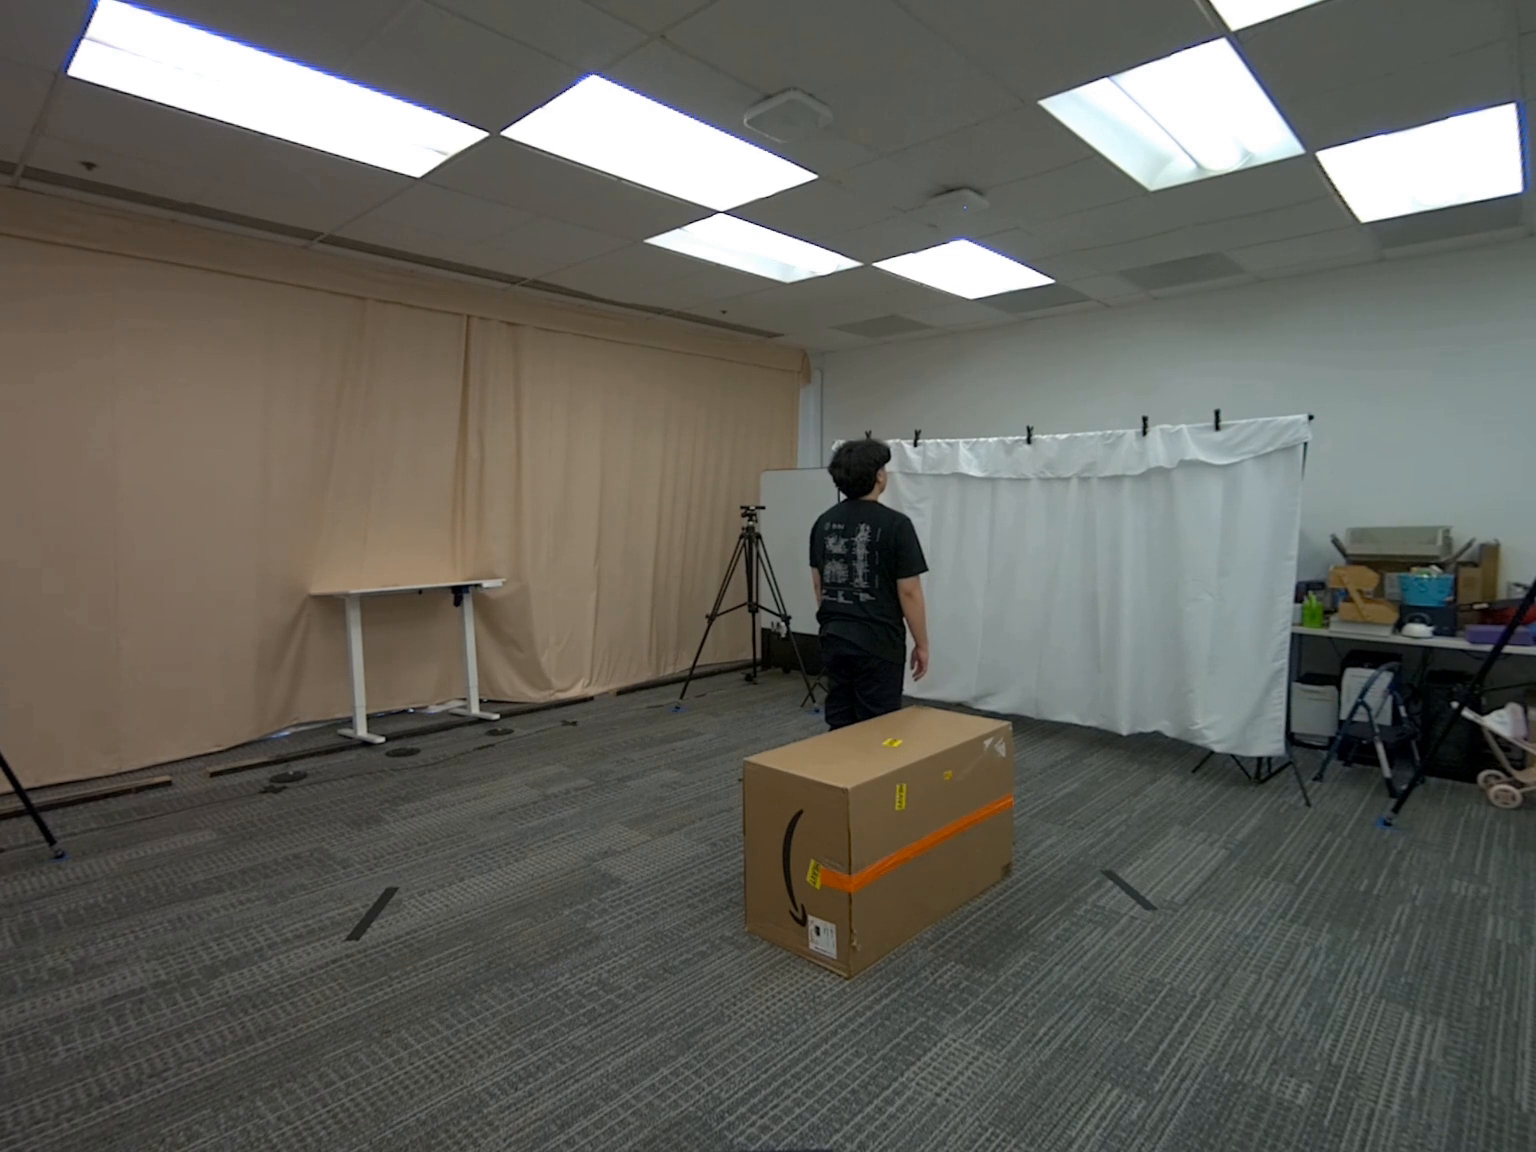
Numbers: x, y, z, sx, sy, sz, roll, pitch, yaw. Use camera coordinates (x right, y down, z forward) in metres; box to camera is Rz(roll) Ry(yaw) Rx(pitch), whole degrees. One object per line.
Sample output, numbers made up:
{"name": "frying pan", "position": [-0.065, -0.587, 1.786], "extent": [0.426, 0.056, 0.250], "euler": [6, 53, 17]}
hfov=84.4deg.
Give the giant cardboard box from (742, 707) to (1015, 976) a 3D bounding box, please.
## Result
{"name": "giant cardboard box", "position": [0.424, 0.861, 2.952], "extent": [0.462, 0.582, 0.996], "euler": [4, 7, 43]}
